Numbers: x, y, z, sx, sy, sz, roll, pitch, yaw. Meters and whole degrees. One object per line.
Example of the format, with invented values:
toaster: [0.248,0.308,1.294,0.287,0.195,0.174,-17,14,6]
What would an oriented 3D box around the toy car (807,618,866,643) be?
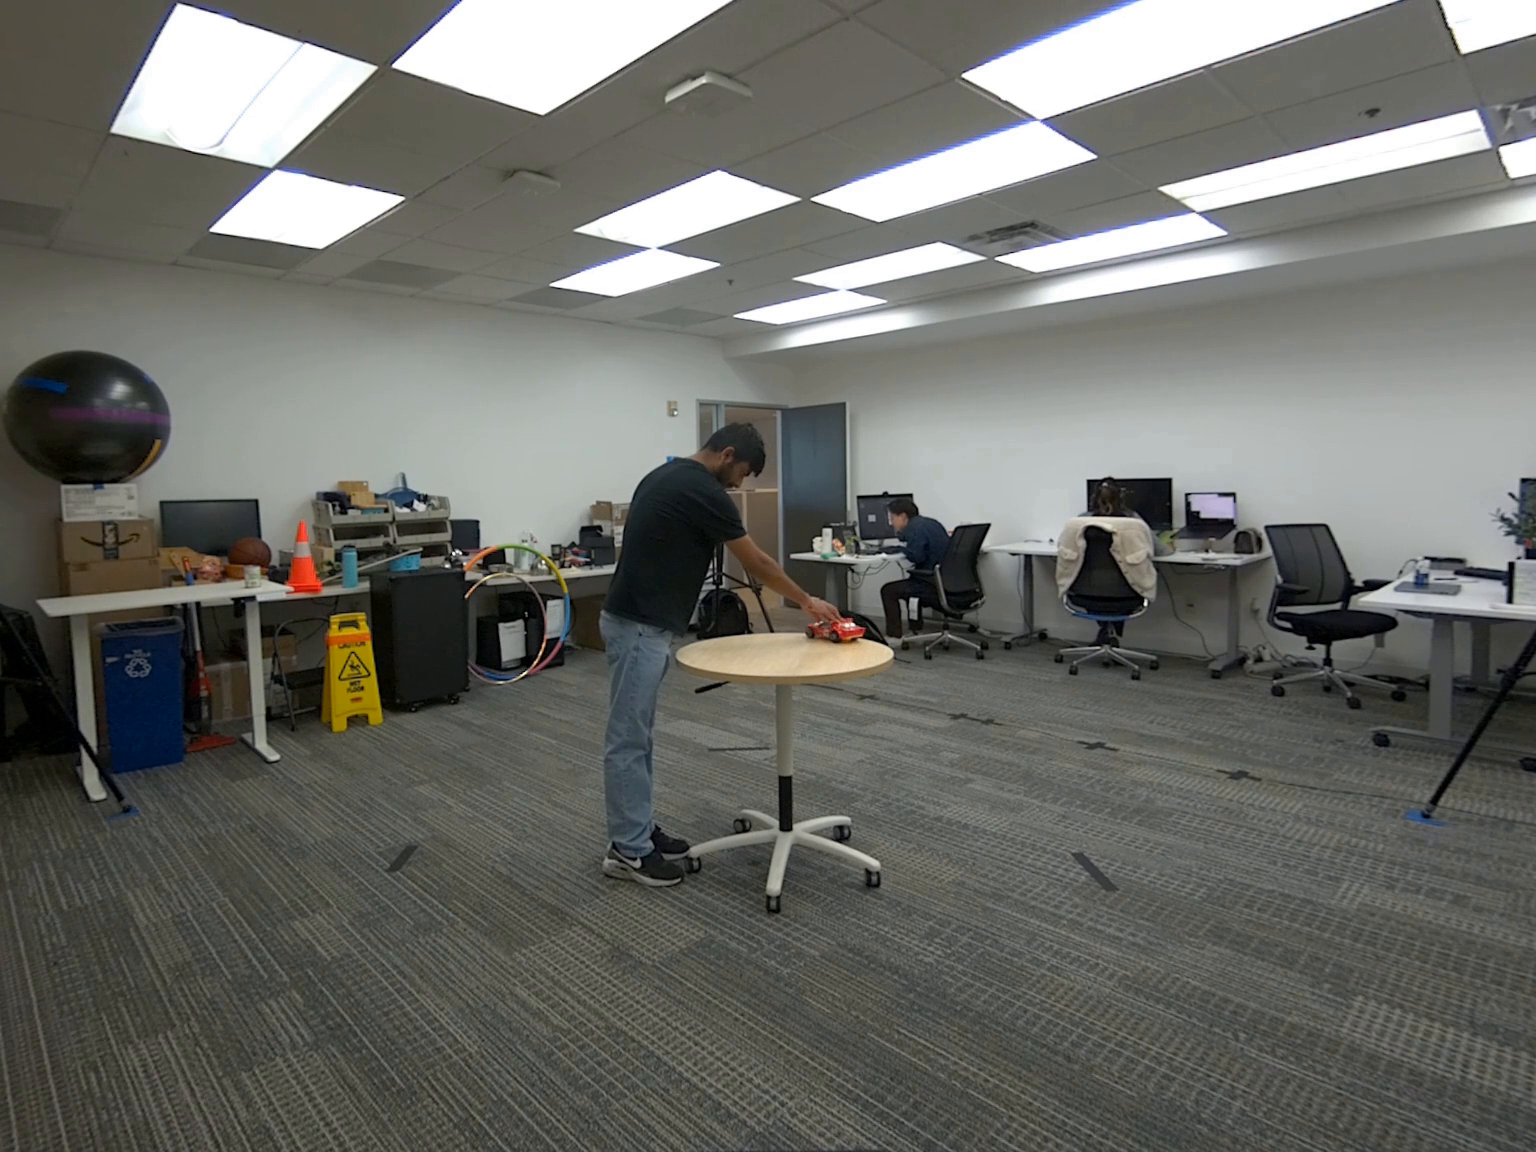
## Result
toy car: [0.254,0.208,3.232,0.127,0.083,0.260,-4,-4,-36]
